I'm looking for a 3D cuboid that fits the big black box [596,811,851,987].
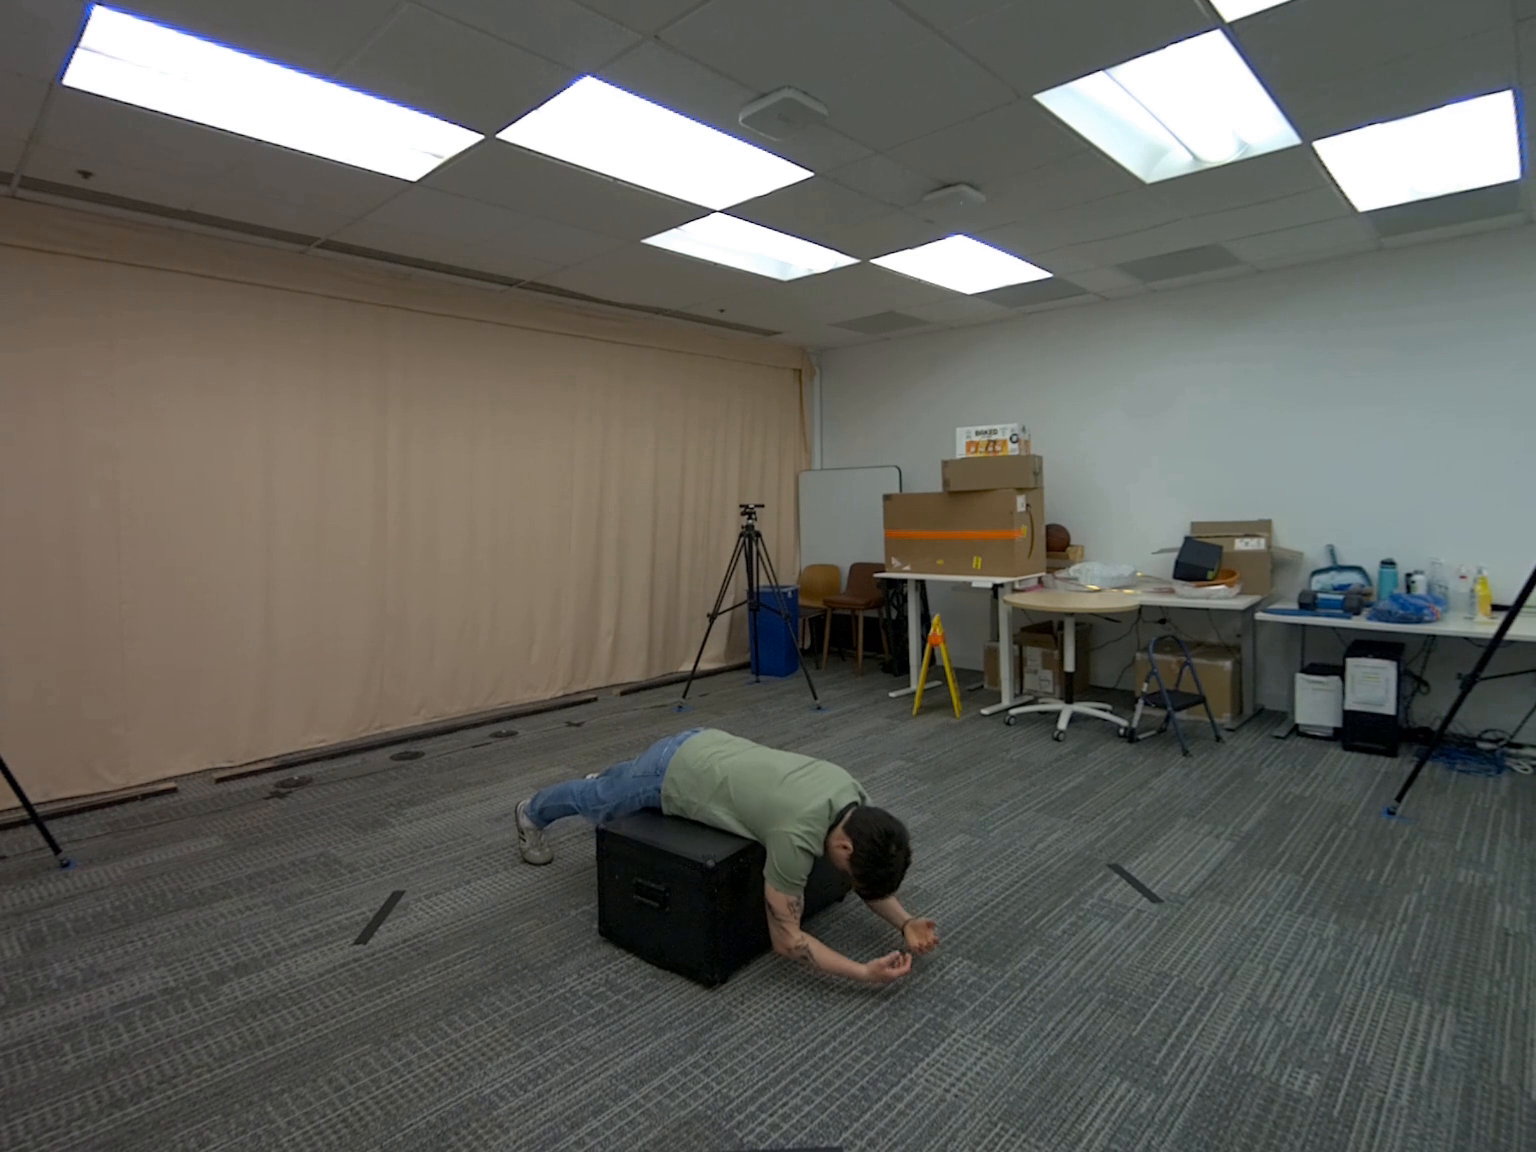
[{"bbox_3d":[-0.096,0.970,2.862,0.538,0.395,0.837,3,8,37],"label":"big black box"}]
